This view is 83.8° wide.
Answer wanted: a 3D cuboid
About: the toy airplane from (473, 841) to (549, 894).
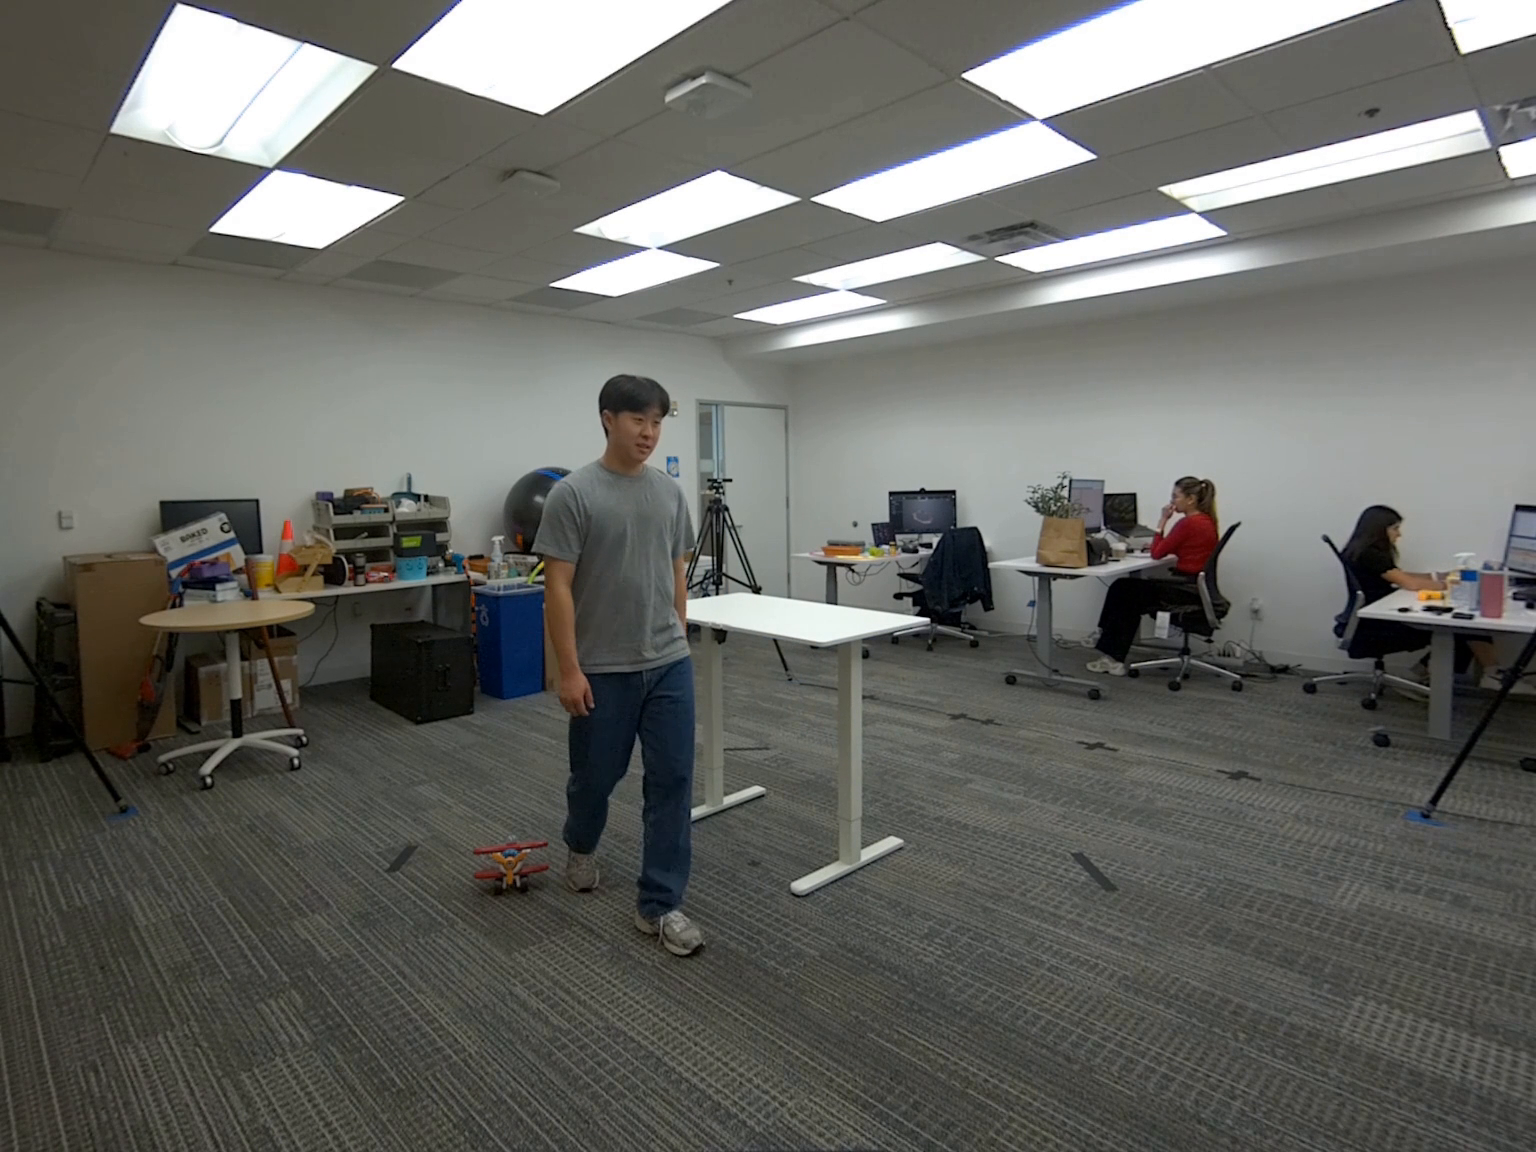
[{"bbox_3d":[-0.916,1.002,2.995,0.244,0.155,0.267,-6,8,-41],"label":"toy airplane"}]
